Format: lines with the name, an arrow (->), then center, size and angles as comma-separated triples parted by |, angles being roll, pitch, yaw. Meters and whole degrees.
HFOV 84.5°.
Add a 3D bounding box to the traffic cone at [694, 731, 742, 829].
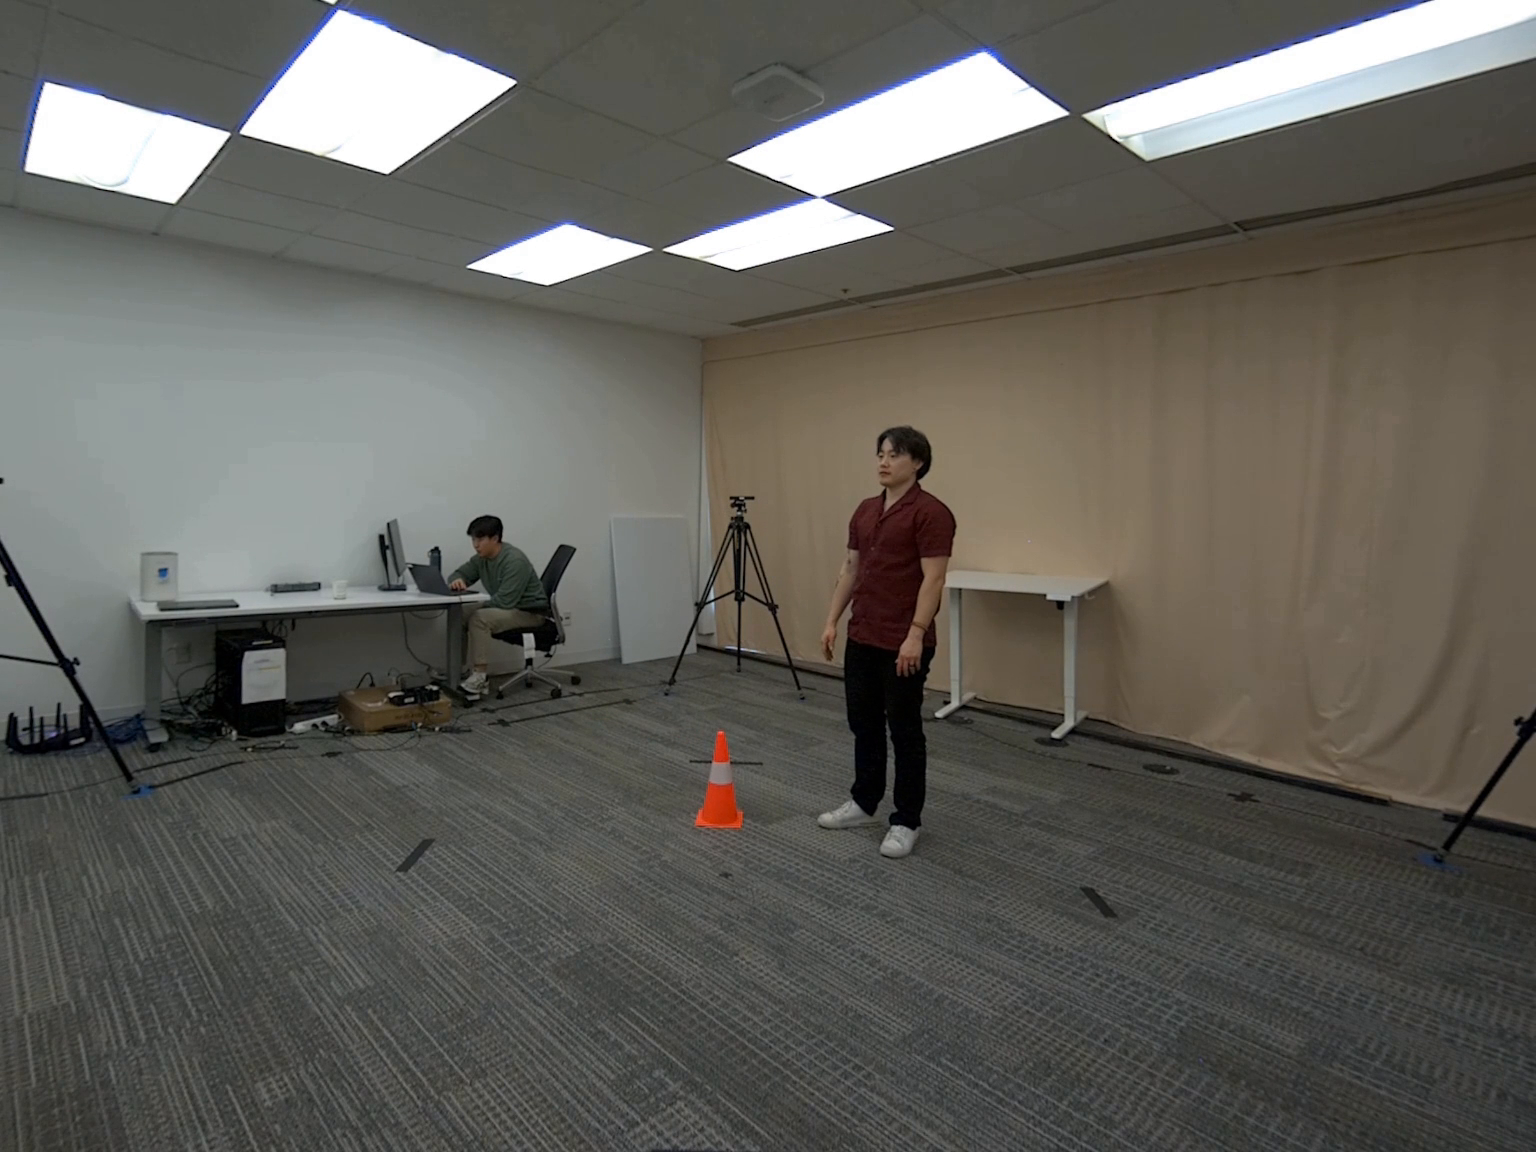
traffic cone -> -0.210, 0.864, 3.659 | 0.204, 0.383, 0.204 | 2, 2, 4
